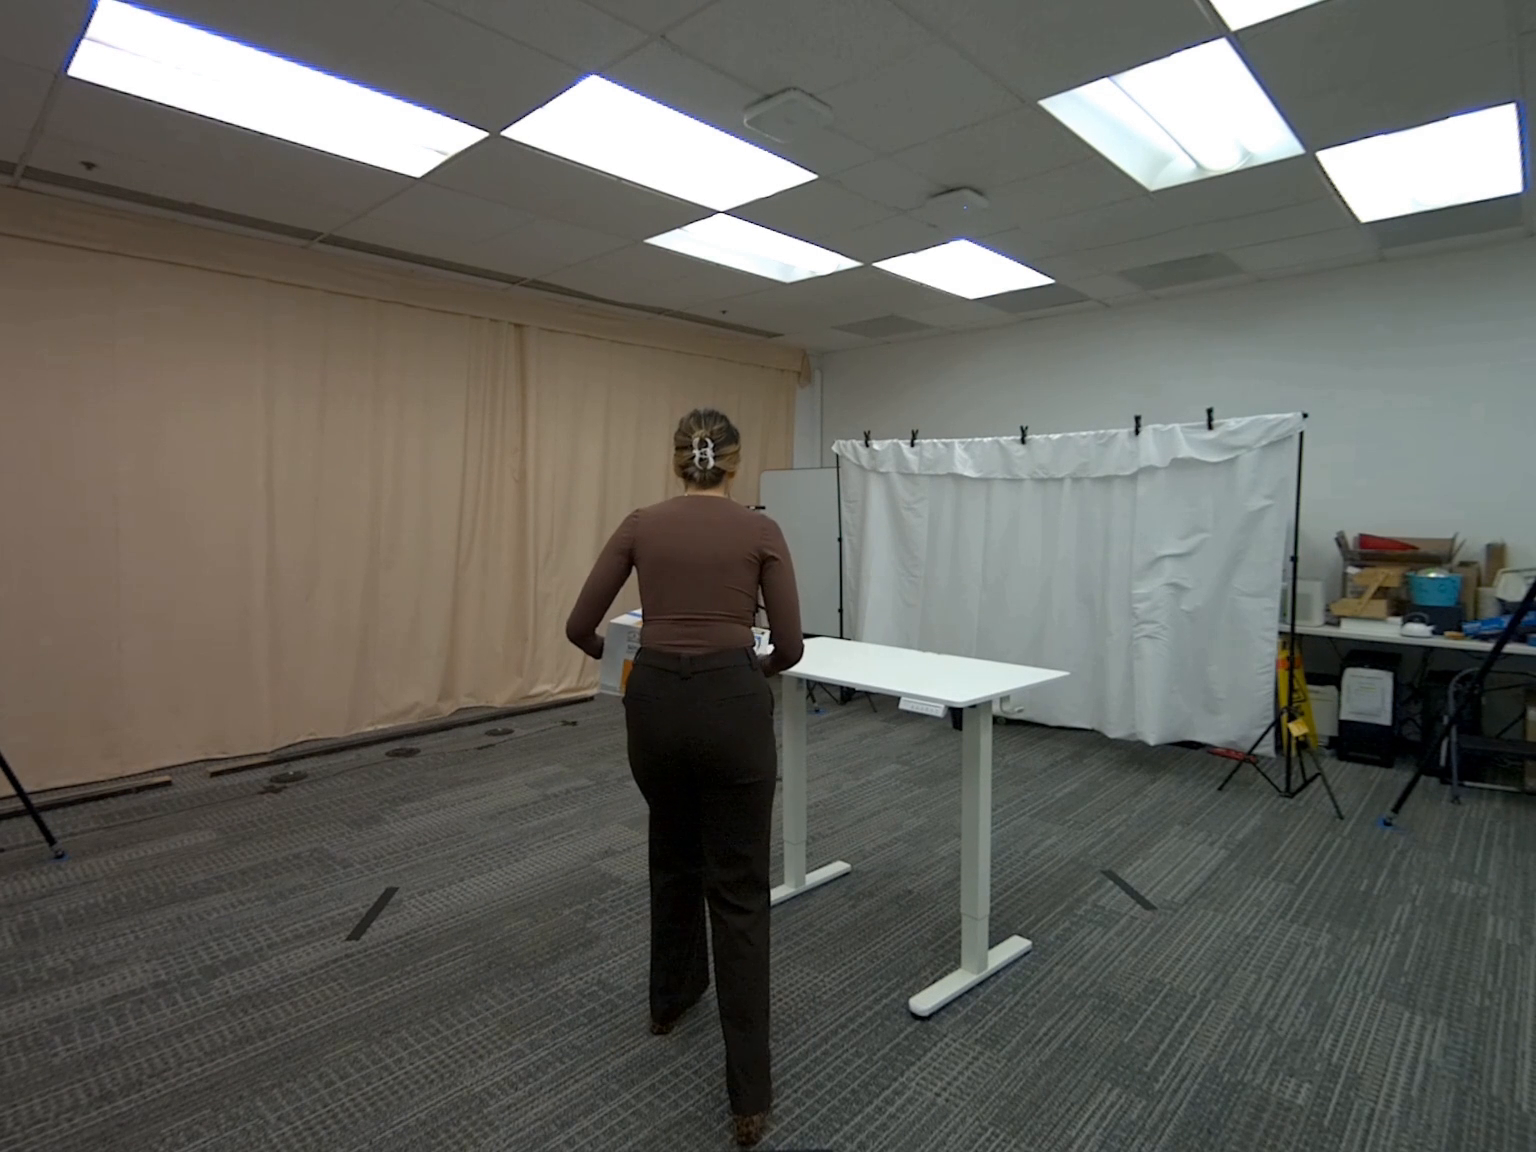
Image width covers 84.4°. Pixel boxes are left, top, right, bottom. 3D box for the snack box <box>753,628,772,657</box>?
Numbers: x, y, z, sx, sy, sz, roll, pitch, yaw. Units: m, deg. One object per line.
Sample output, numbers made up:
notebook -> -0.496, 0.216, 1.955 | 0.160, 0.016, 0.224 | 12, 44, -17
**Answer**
snack box -> -0.223, 0.245, 2.430 | 0.410, 0.205, 0.337 | 9, 6, 10
